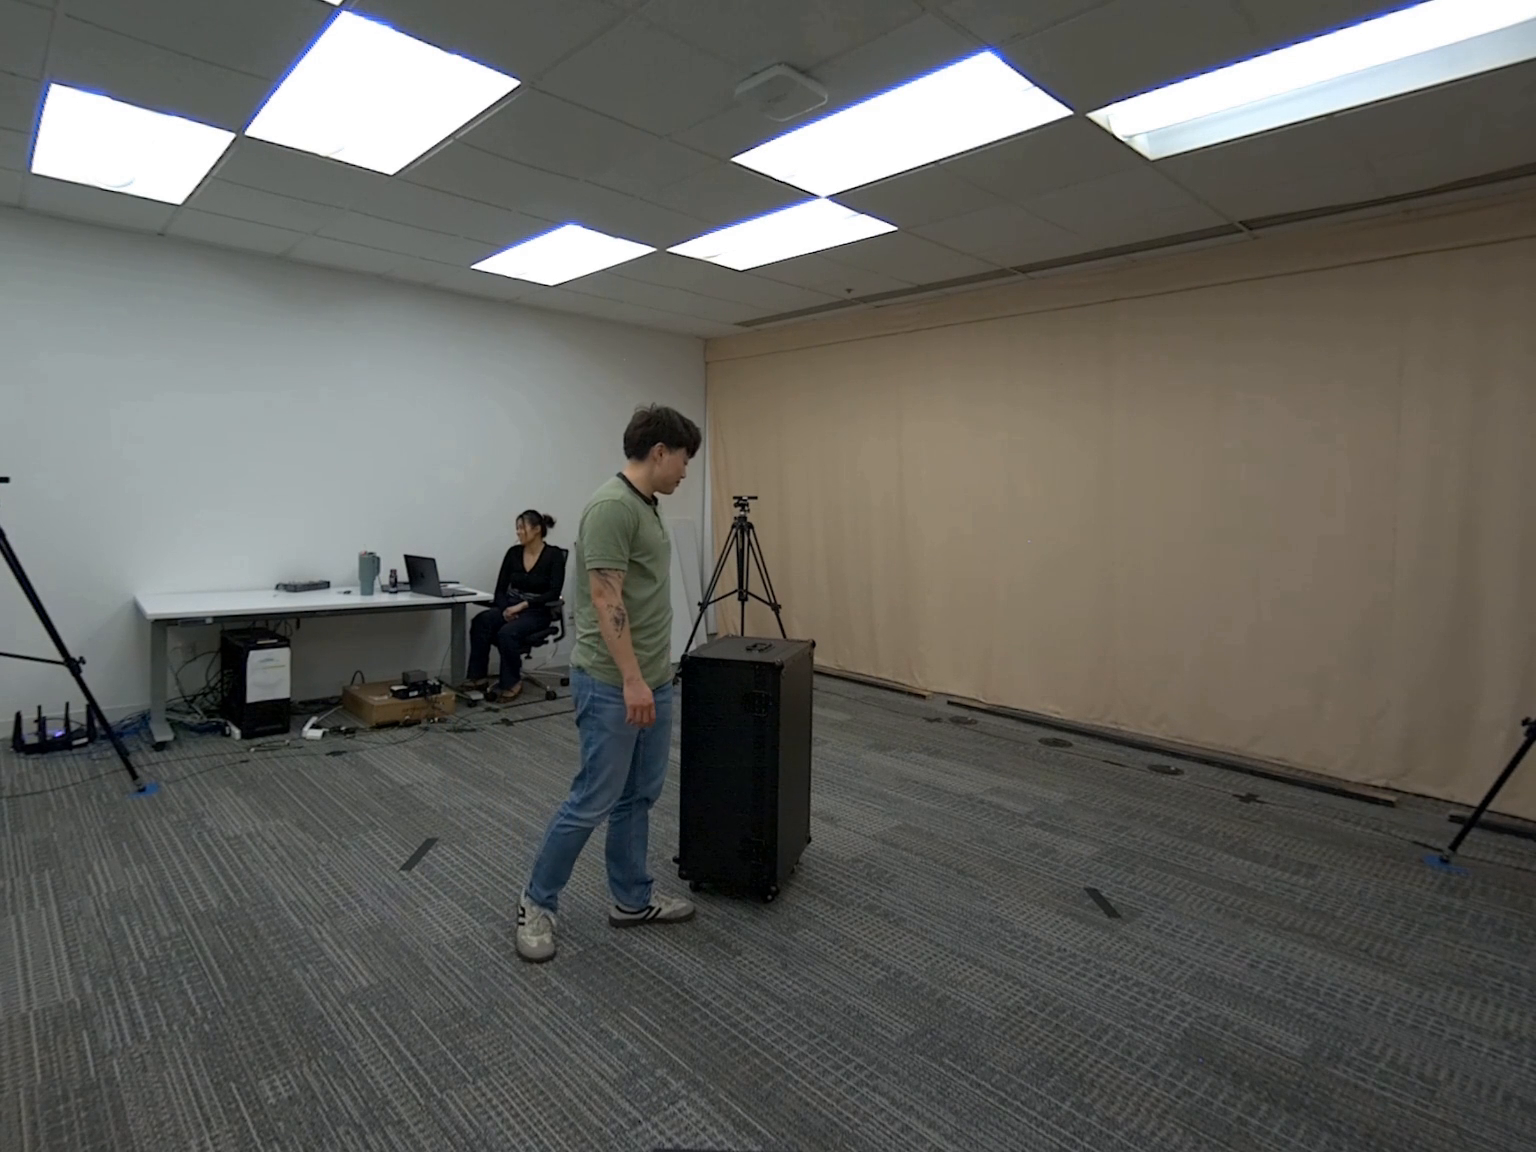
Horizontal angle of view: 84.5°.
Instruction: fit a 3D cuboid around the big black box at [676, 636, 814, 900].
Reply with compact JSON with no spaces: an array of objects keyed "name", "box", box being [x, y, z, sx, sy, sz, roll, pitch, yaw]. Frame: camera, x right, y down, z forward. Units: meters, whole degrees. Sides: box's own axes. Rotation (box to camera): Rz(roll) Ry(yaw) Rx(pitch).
[{"name":"big black box","box":[-0.078,0.681,3.057,0.402,0.859,0.515,2,4,17]}]
